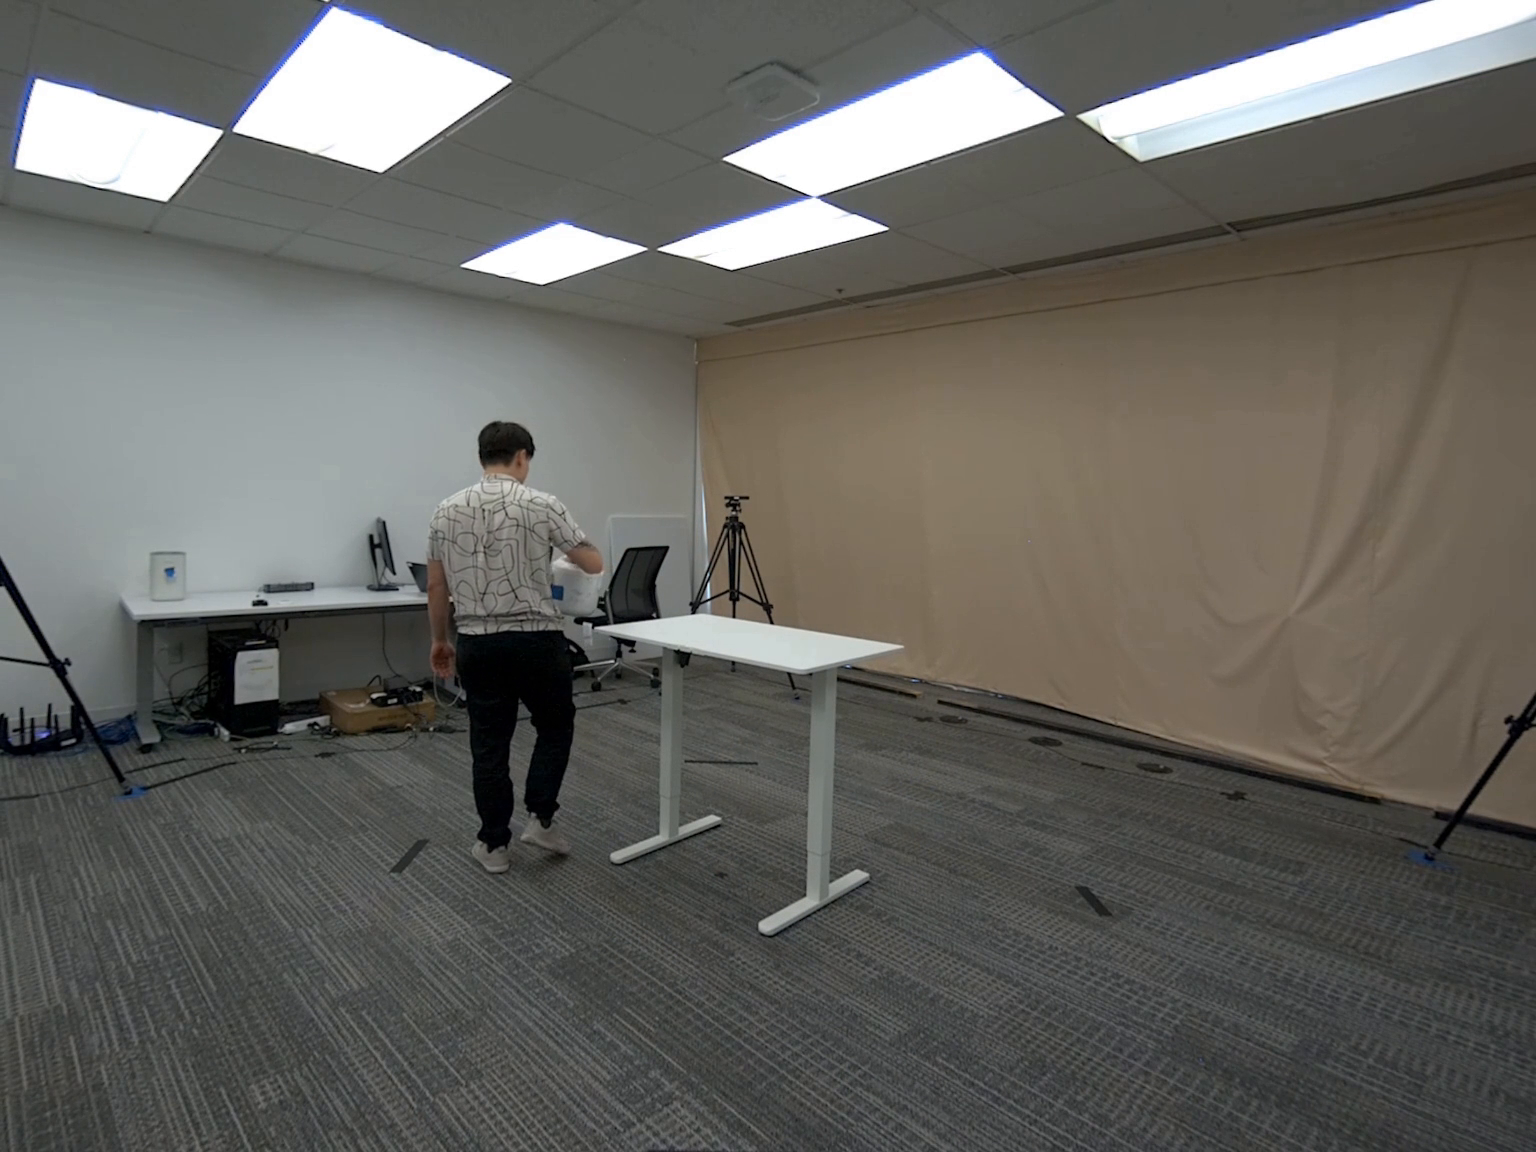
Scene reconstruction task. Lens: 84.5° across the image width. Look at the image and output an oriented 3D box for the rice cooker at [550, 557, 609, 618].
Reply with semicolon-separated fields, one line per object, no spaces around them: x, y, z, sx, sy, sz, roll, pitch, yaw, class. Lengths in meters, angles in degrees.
-0.790;0.033;3.405;0.222;0.232;0.216;13;6;7;rice cooker
